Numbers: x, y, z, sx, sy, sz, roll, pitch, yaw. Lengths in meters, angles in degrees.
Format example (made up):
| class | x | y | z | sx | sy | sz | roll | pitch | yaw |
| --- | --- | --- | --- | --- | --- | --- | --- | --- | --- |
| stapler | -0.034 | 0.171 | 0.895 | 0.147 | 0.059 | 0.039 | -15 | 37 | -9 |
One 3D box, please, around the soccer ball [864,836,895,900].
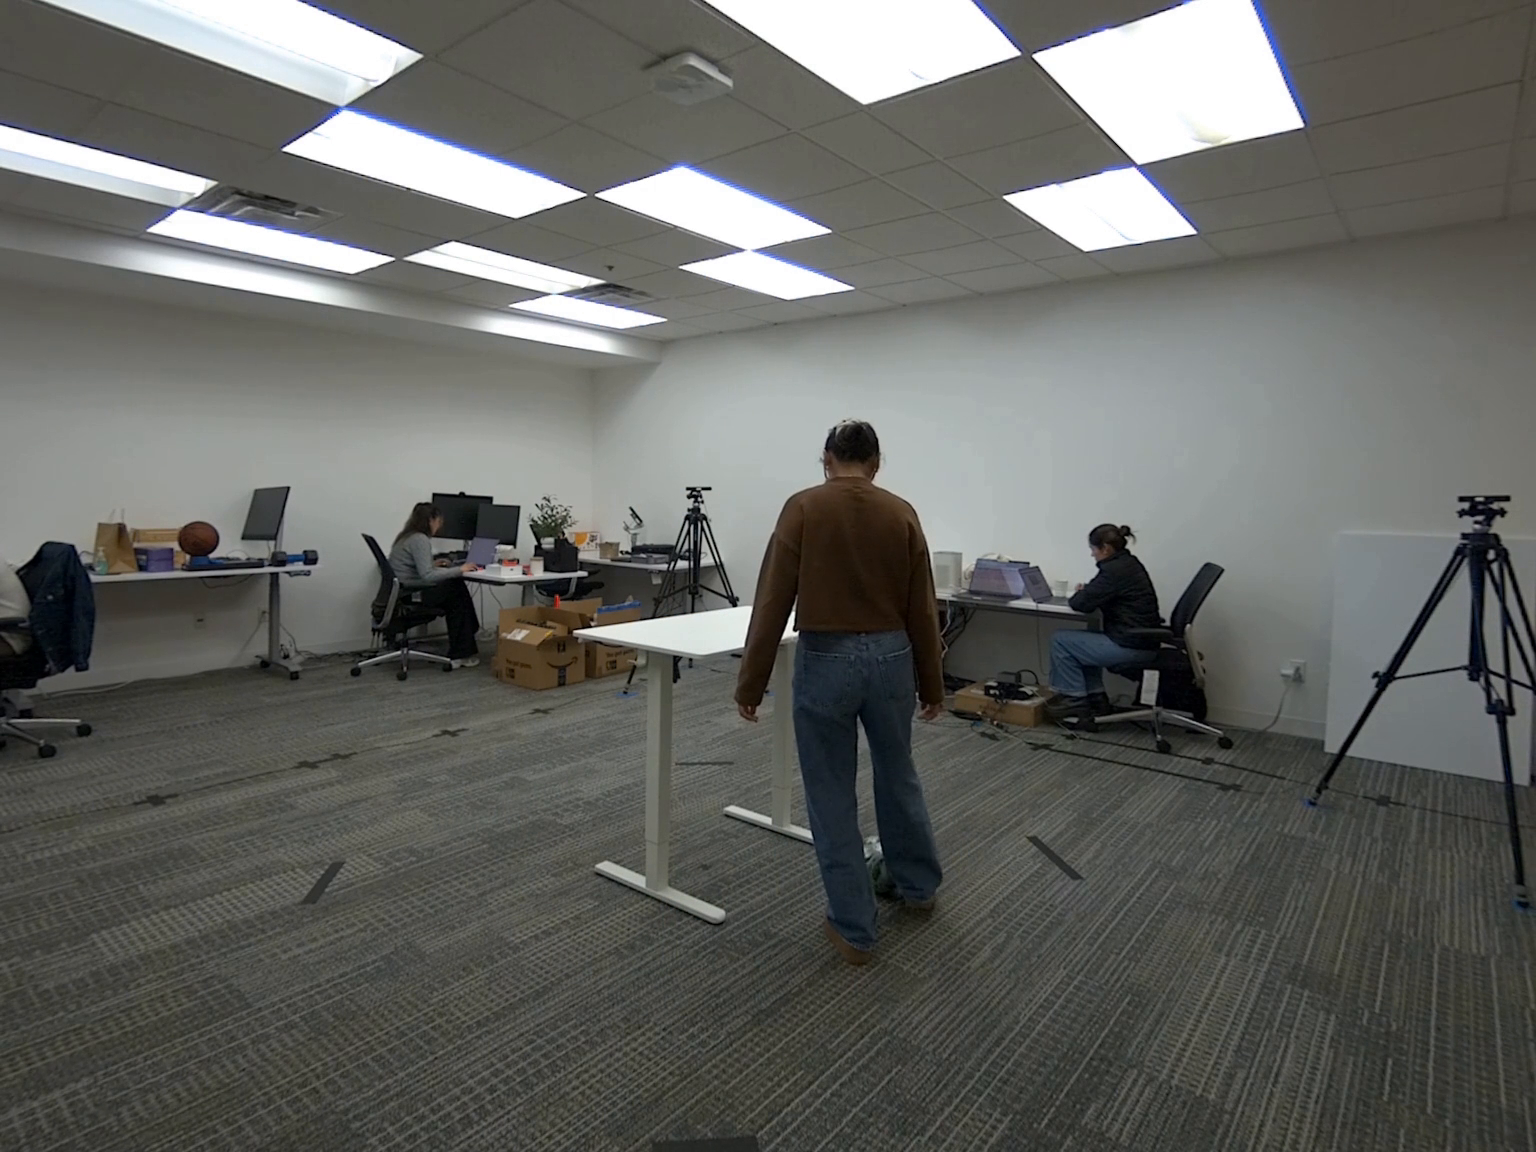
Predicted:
| class | x | y | z | sx | sy | sz | roll | pitch | yaw |
| --- | --- | --- | --- | --- | --- | --- | --- | --- | --- |
| soccer ball | 0.372 | 1.003 | 2.960 | 0.187 | 0.187 | 0.188 | 1 | 4 | -2 |
